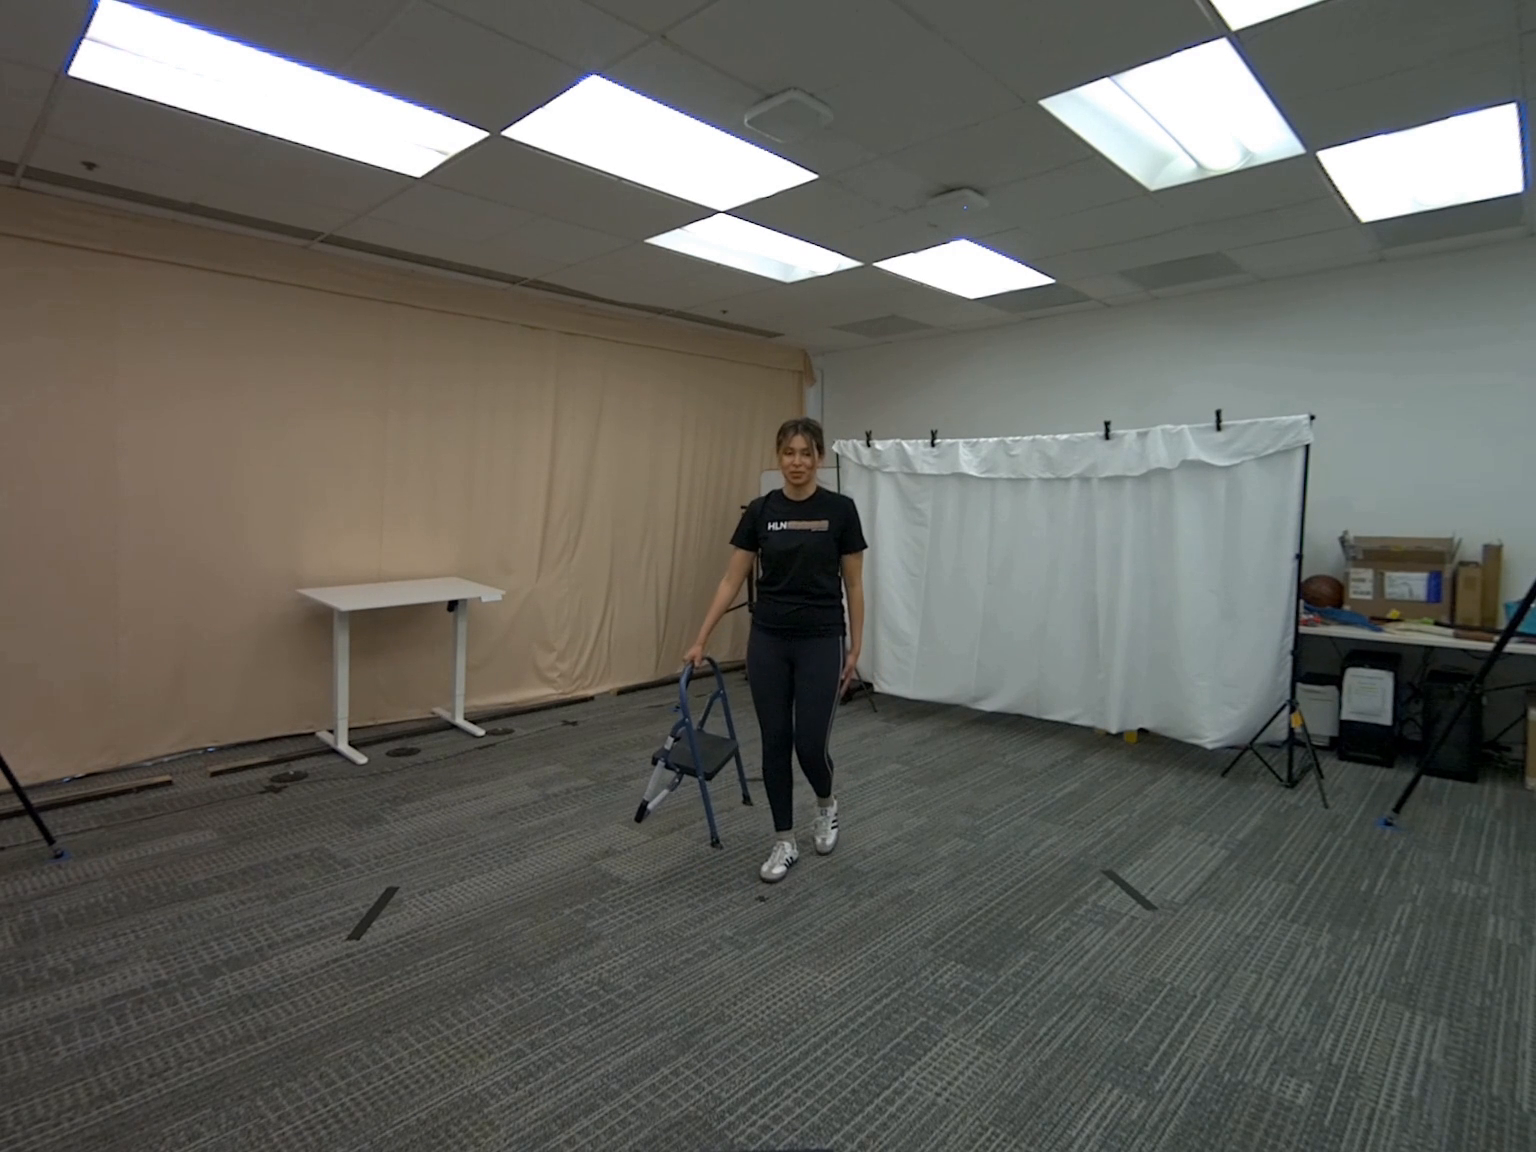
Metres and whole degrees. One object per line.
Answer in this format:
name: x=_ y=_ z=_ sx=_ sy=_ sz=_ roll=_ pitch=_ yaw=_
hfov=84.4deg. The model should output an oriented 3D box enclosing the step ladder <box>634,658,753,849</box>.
step ladder: x=-0.238 y=0.632 z=3.234 sx=0.356 sy=0.603 sz=0.424 roll=11 pitch=9 yaw=15
